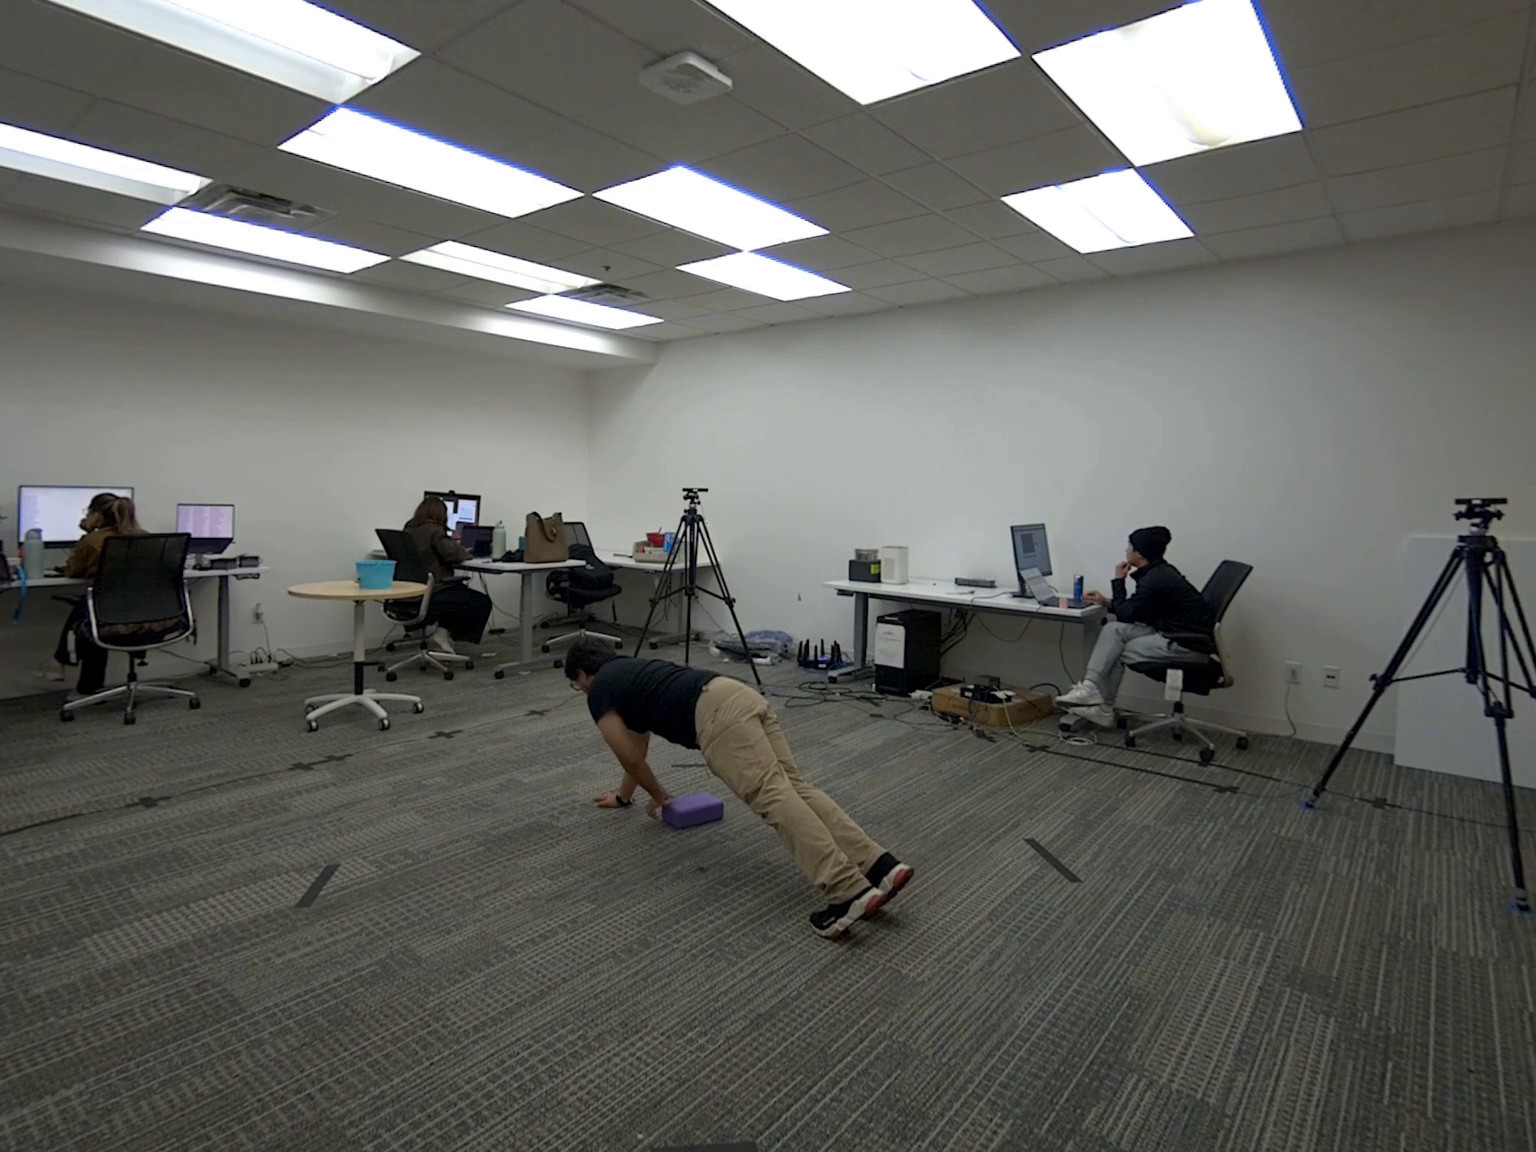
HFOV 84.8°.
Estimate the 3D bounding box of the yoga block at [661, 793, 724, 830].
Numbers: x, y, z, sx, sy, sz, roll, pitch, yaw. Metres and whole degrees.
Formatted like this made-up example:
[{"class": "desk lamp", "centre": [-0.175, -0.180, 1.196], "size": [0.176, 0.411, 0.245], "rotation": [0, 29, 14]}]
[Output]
[{"class": "yoga block", "centre": [-0.327, 0.981, 3.583], "size": [0.222, 0.076, 0.154], "rotation": [-2, 6, -37]}]
